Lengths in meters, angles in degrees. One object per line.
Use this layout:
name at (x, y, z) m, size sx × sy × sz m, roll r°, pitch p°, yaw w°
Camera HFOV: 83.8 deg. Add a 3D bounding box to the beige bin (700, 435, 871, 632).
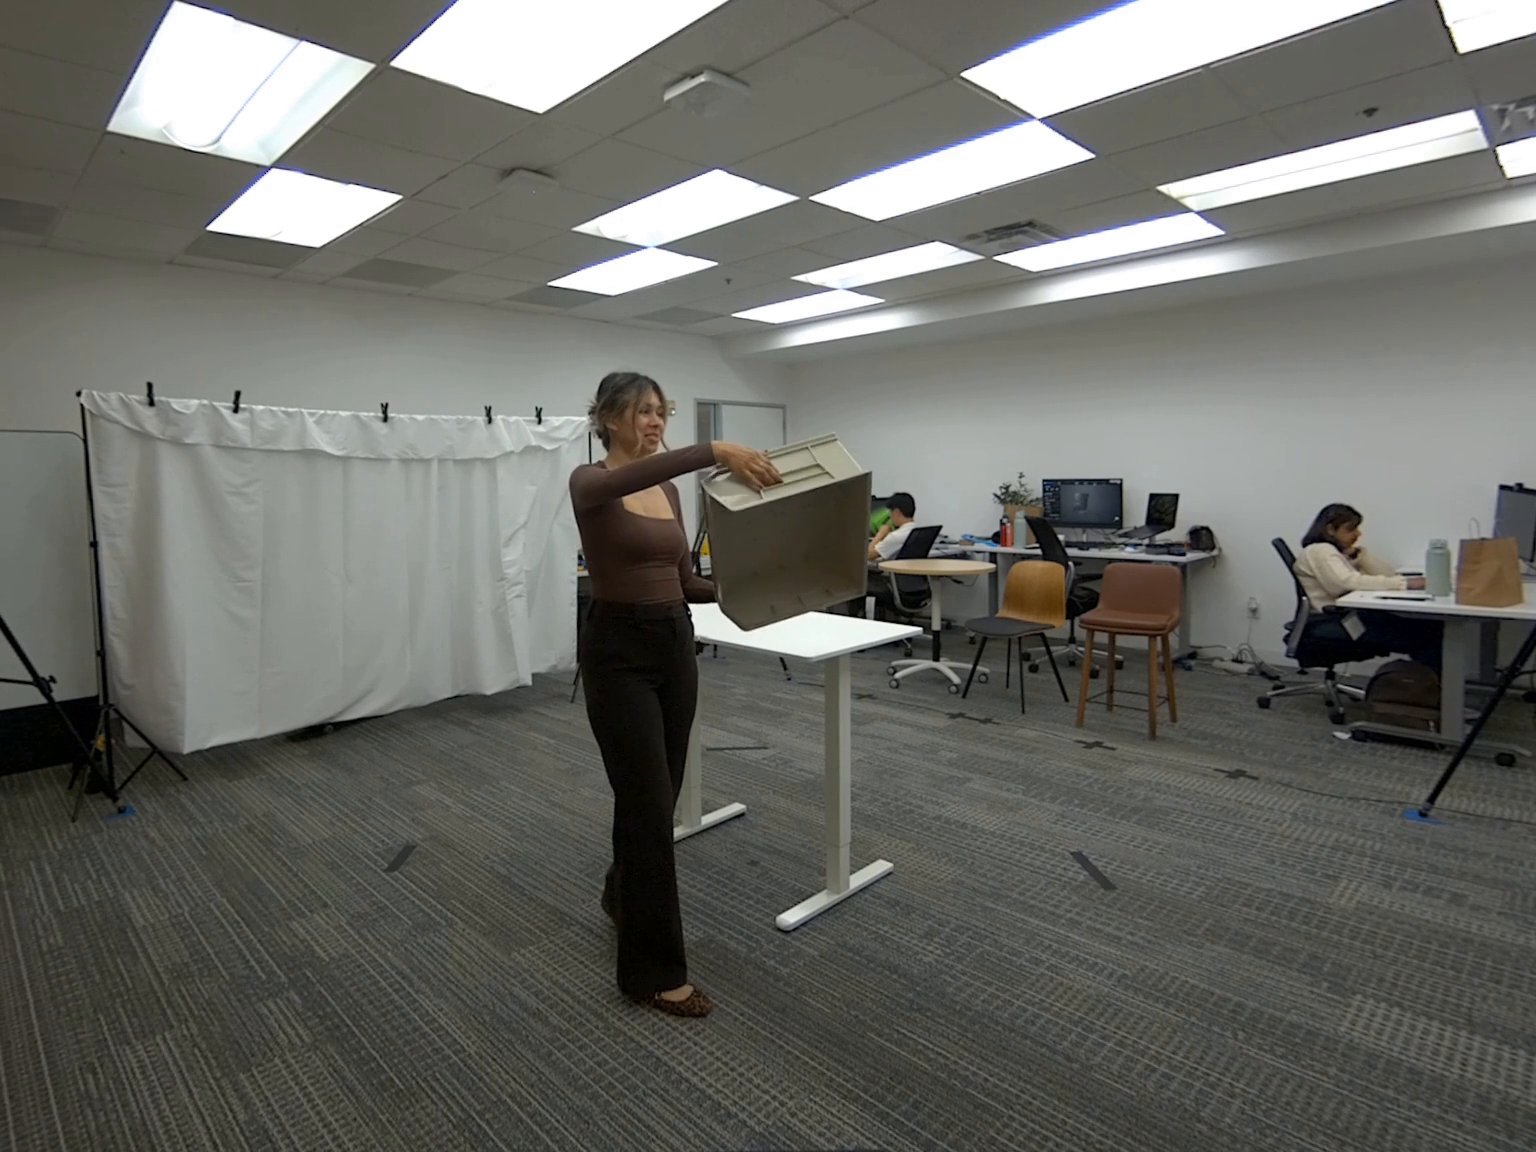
beige bin at (0.042, -0.098, 2.148) m, size 0.374 × 0.410 × 0.196 m, roll -16°, pitch 45°, yaw -11°
